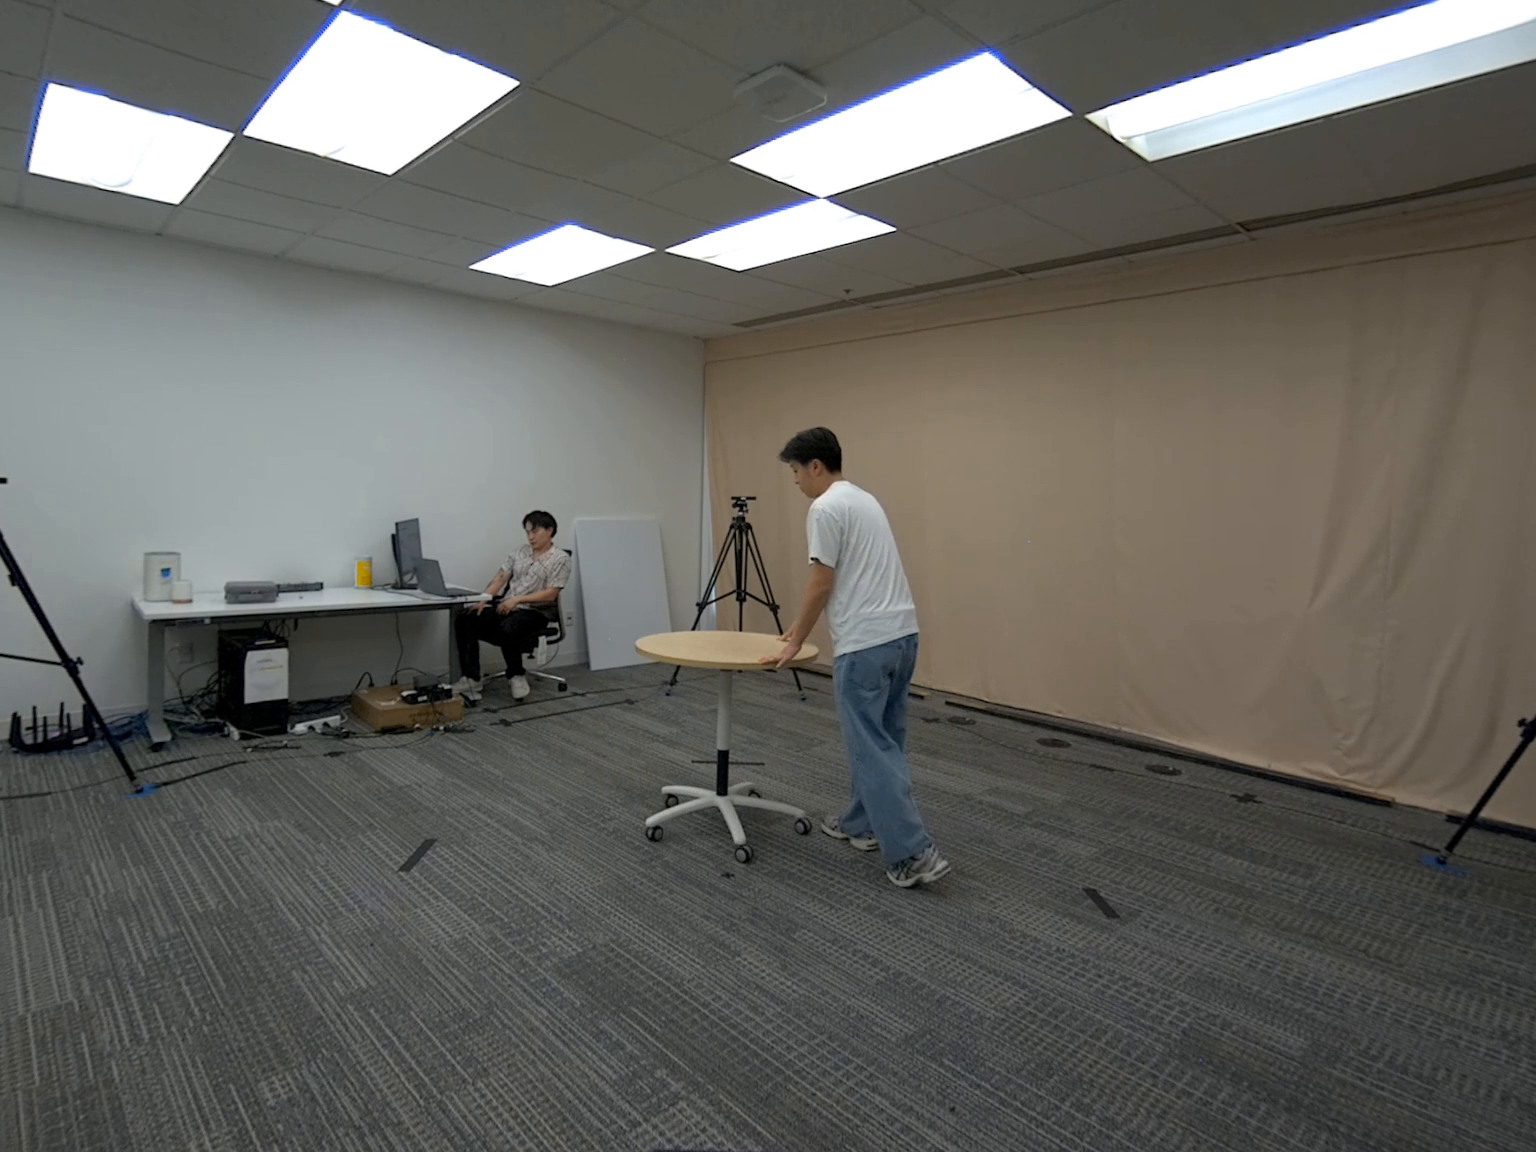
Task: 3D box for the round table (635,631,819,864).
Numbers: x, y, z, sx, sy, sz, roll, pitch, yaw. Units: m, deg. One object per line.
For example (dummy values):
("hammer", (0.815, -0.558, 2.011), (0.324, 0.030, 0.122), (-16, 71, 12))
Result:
("round table", (-0.187, 0.680, 3.547), (0.763, 0.792, 0.766), (2, 4, -2))
